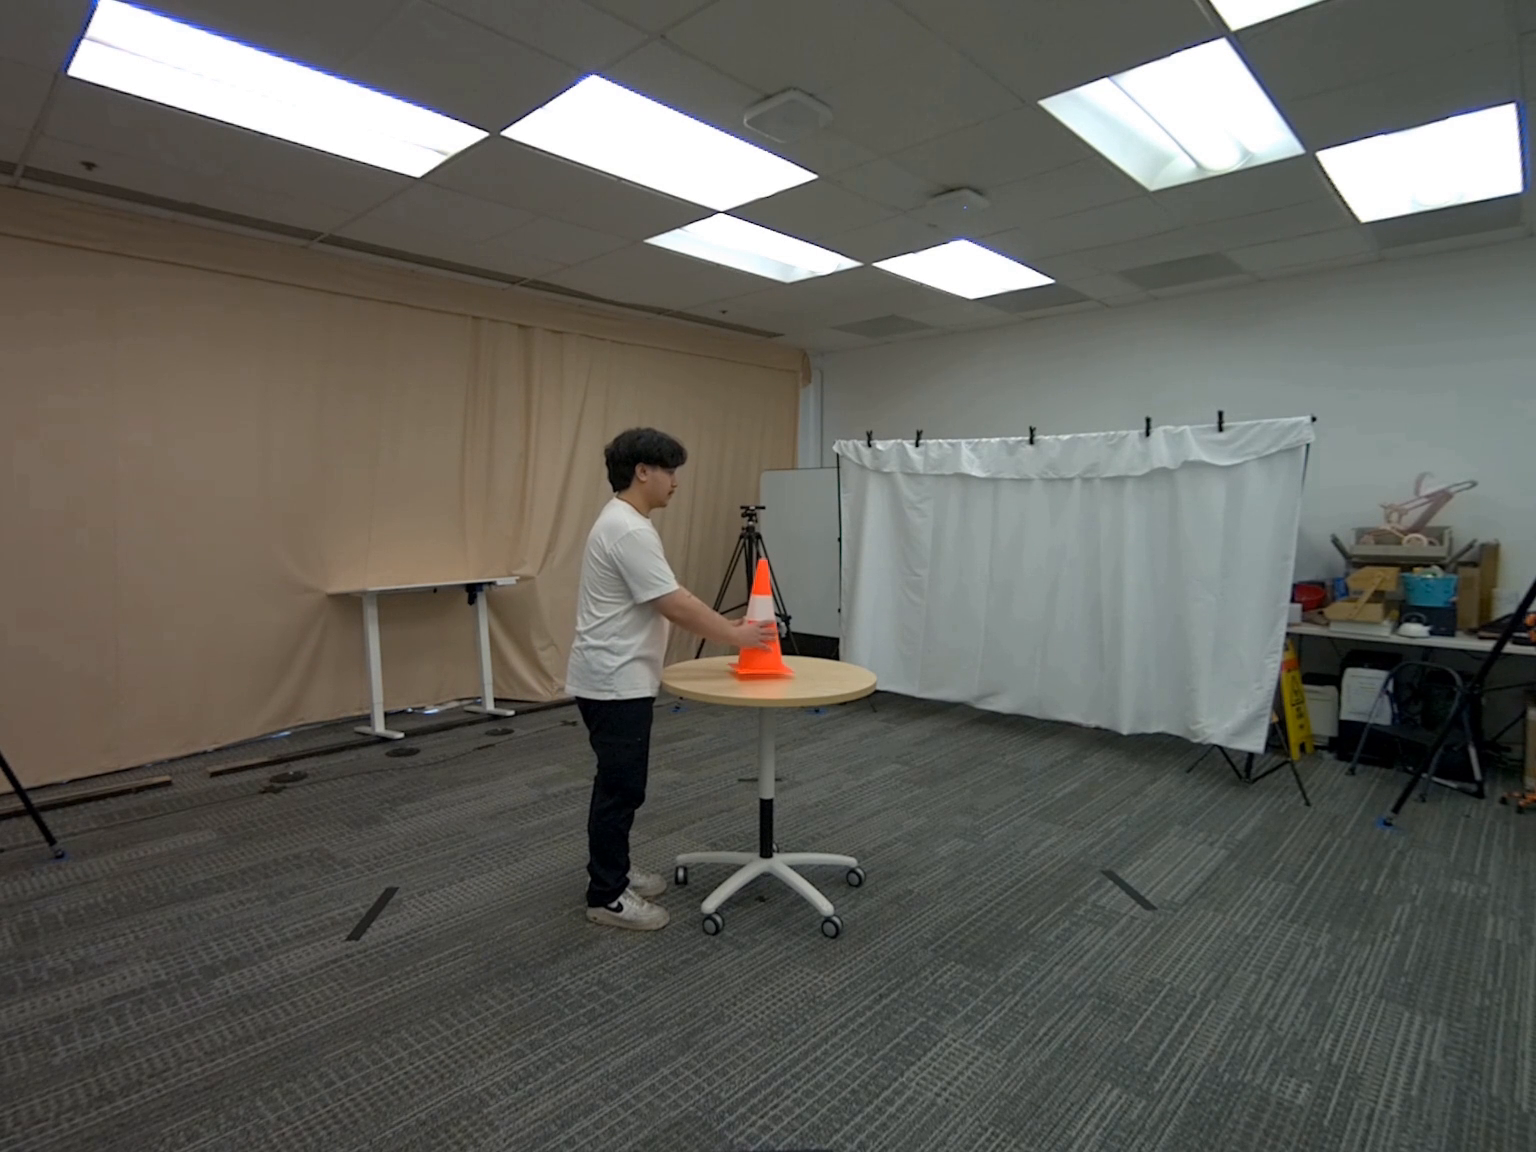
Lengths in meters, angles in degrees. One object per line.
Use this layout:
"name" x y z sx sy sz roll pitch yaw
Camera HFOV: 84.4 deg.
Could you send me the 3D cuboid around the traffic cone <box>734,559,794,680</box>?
"traffic cone" -0.022 0.134 2.943 0.210 0.383 0.199 3 3 34
